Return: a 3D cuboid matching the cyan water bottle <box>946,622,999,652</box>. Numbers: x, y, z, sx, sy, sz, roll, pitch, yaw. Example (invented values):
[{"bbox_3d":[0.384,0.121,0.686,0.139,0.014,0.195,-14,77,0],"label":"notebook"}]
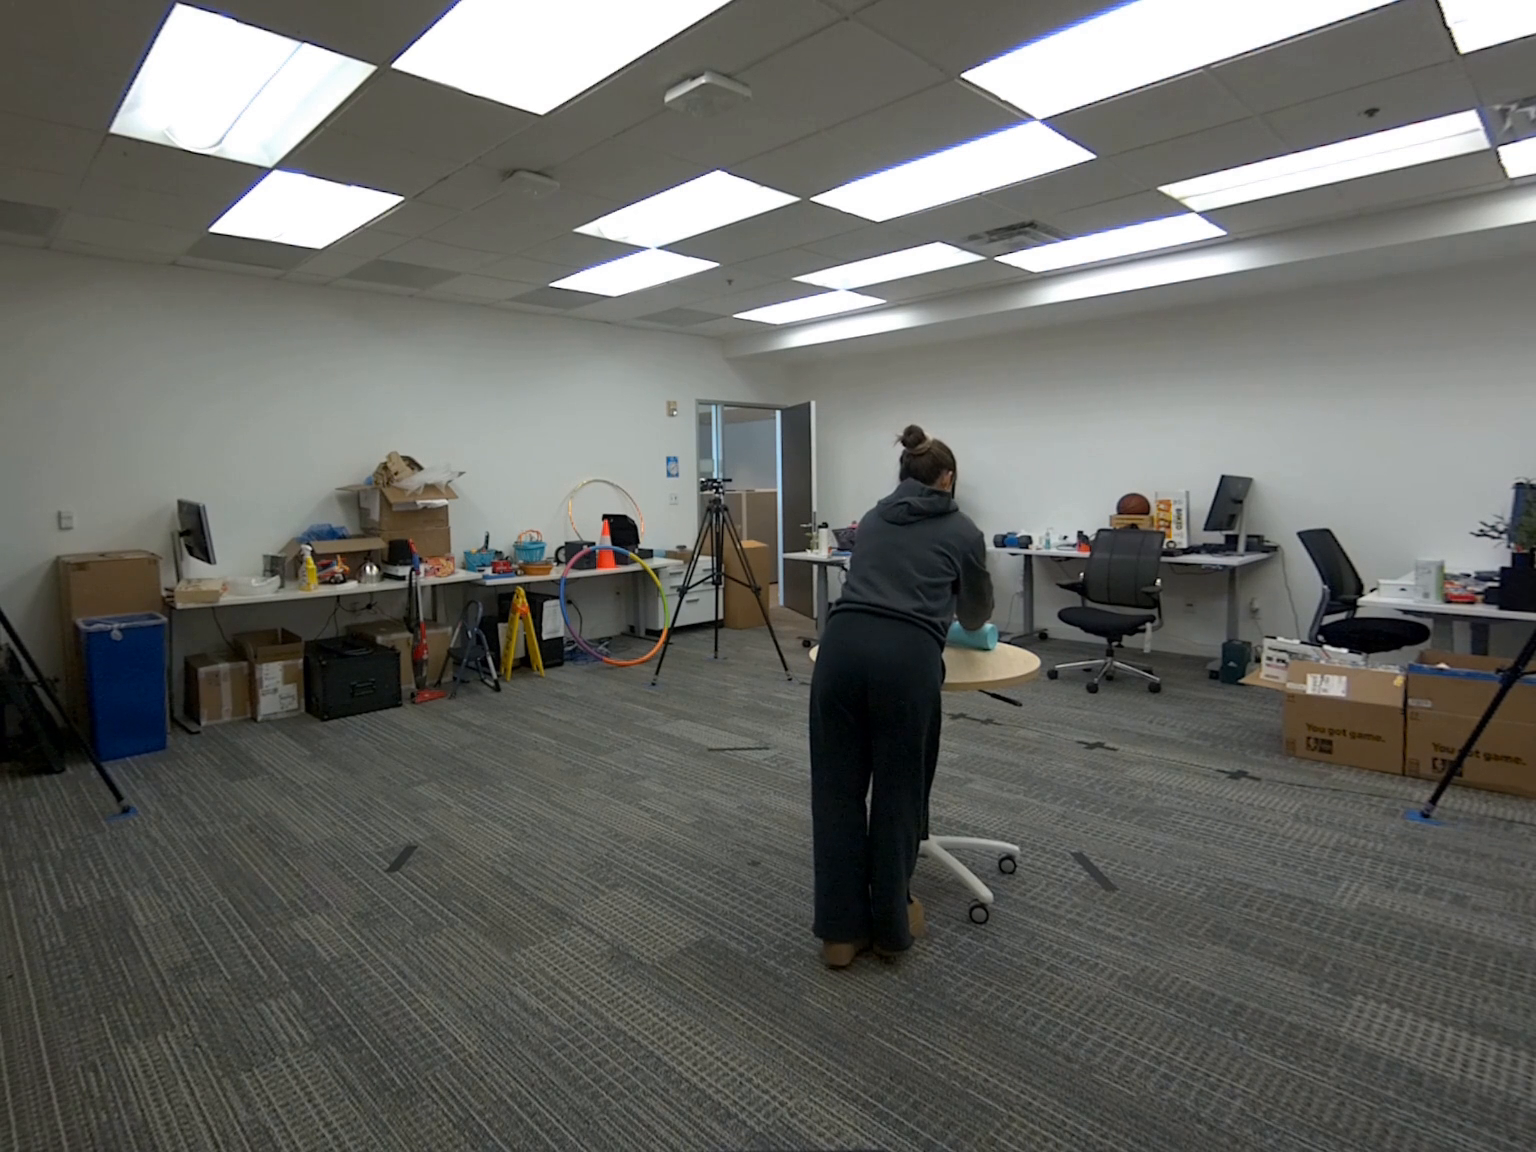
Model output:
[{"bbox_3d":[0.672,0.207,3.059,0.090,0.092,0.292,-5,7,-43],"label":"cyan water bottle"}]
